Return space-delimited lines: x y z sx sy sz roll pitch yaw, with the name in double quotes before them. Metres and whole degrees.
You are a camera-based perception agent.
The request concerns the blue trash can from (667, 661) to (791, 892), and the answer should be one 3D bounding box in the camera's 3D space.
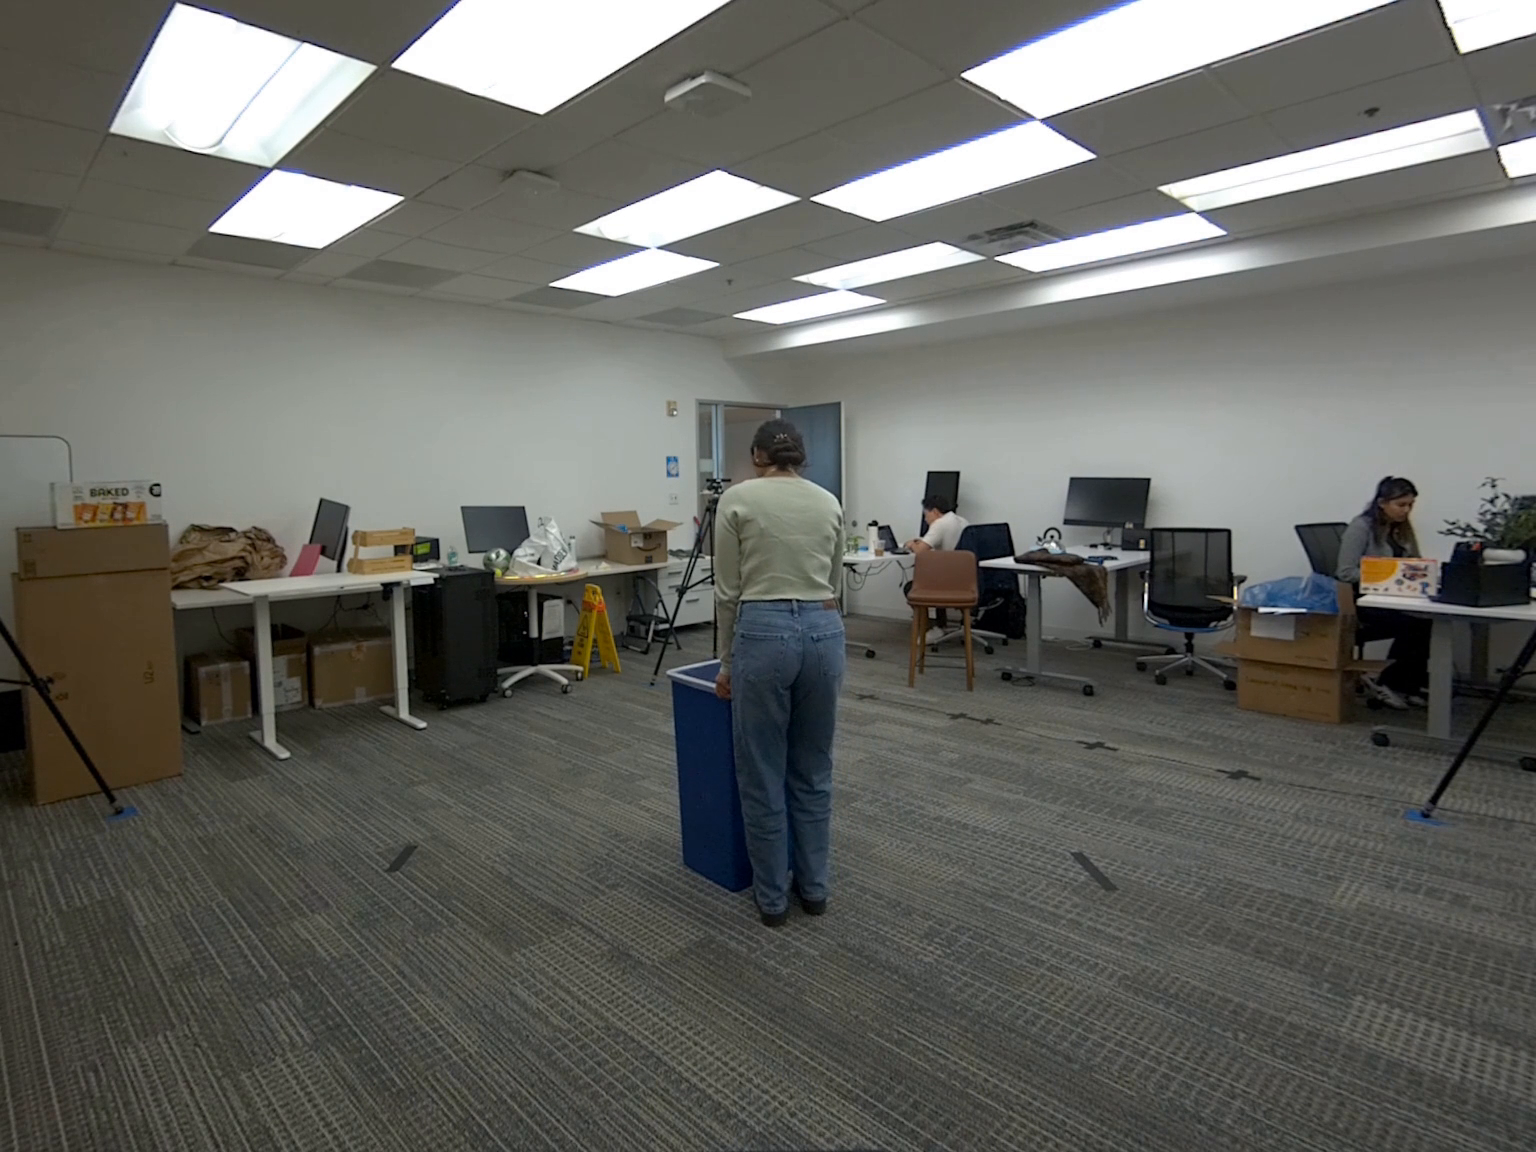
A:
"blue trash can" -0.109 0.689 3.059 0.364 0.711 0.390 -4 6 -40
